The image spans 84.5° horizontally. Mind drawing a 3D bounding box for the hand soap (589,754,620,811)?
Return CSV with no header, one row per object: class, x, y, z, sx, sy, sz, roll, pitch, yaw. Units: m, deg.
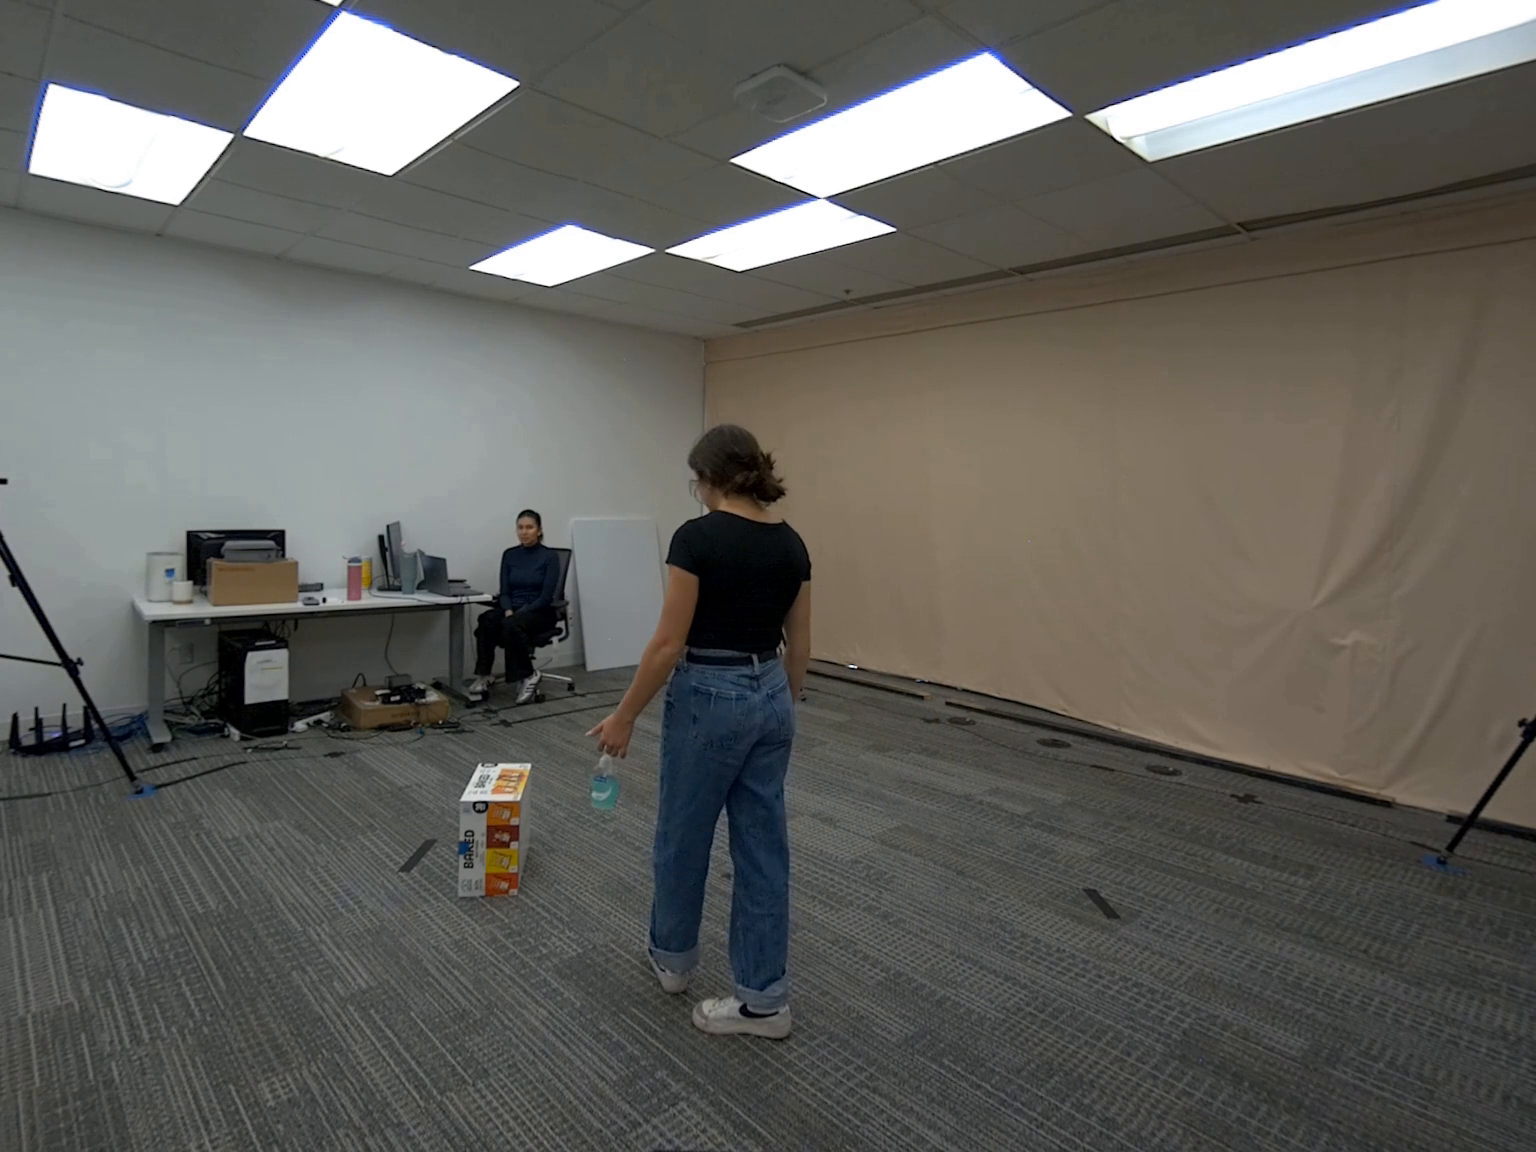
hand soap,-0.426,0.531,2.225,0.085,0.168,0.043,5,3,10
